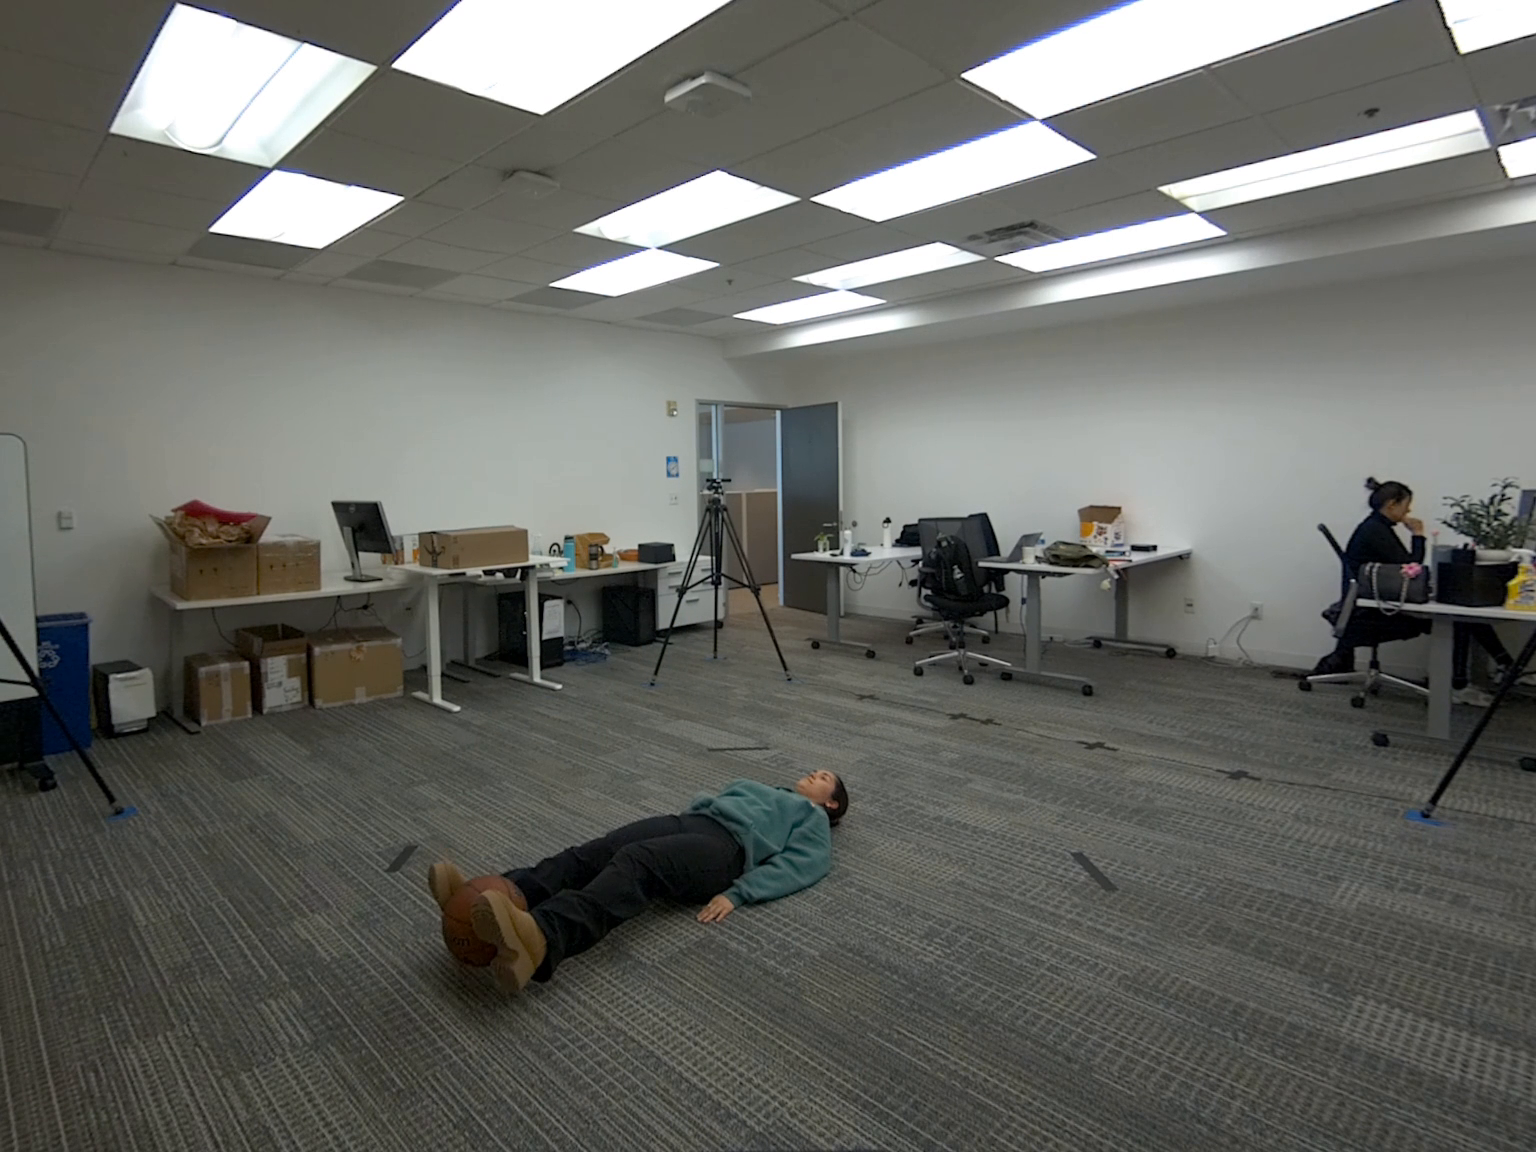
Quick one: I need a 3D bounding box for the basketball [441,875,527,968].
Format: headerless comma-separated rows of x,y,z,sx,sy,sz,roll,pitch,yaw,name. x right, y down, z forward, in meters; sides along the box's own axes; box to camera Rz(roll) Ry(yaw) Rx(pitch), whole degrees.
-0.791,0.969,2.397,0.236,0.235,0.237,-1,4,-2,basketball
